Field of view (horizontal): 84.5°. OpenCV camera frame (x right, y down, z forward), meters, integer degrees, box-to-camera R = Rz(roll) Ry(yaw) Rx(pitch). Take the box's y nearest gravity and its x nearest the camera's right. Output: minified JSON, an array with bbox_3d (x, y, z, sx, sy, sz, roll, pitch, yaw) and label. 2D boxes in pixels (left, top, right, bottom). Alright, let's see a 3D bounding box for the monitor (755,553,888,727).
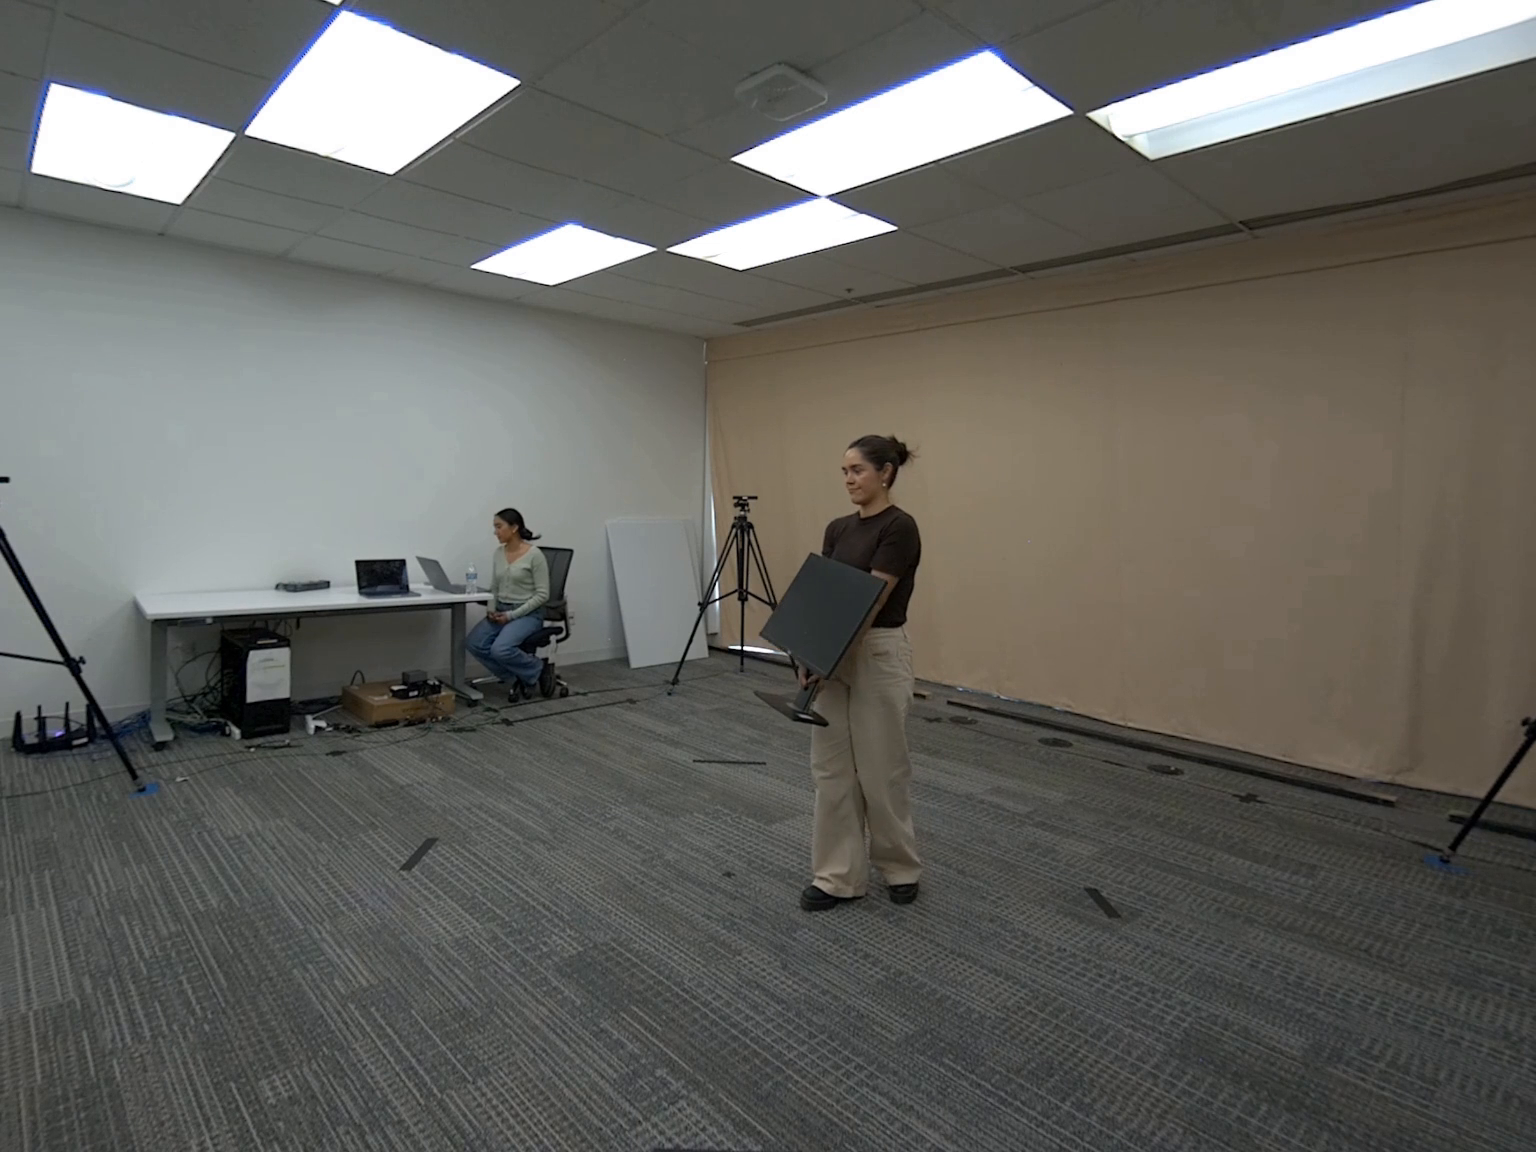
[{"bbox_3d":[0.162,0.209,2.775,0.183,0.522,0.551,19,1,-25],"label":"monitor"}]
